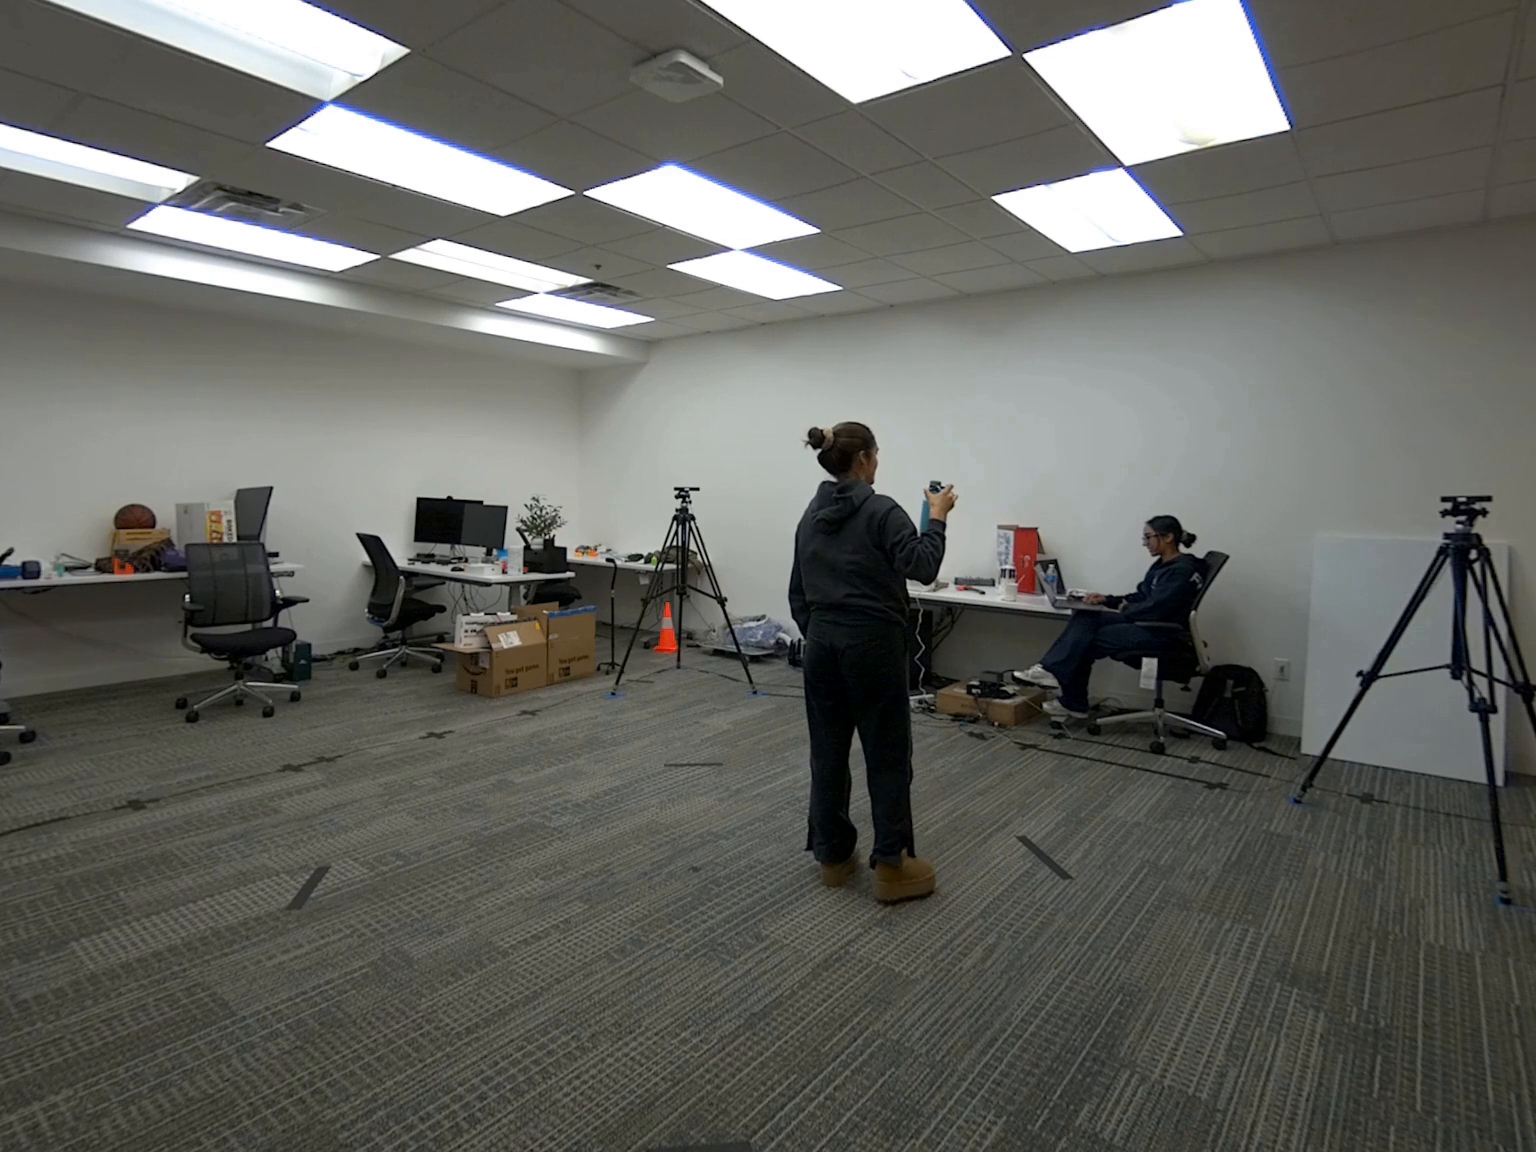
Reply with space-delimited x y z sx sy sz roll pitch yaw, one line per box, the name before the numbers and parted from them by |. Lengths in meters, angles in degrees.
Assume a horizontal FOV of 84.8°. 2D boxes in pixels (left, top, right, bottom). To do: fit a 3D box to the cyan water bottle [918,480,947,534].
cyan water bottle | 0.585 -0.194 2.972 0.092 0.281 0.093 4 10 -3
